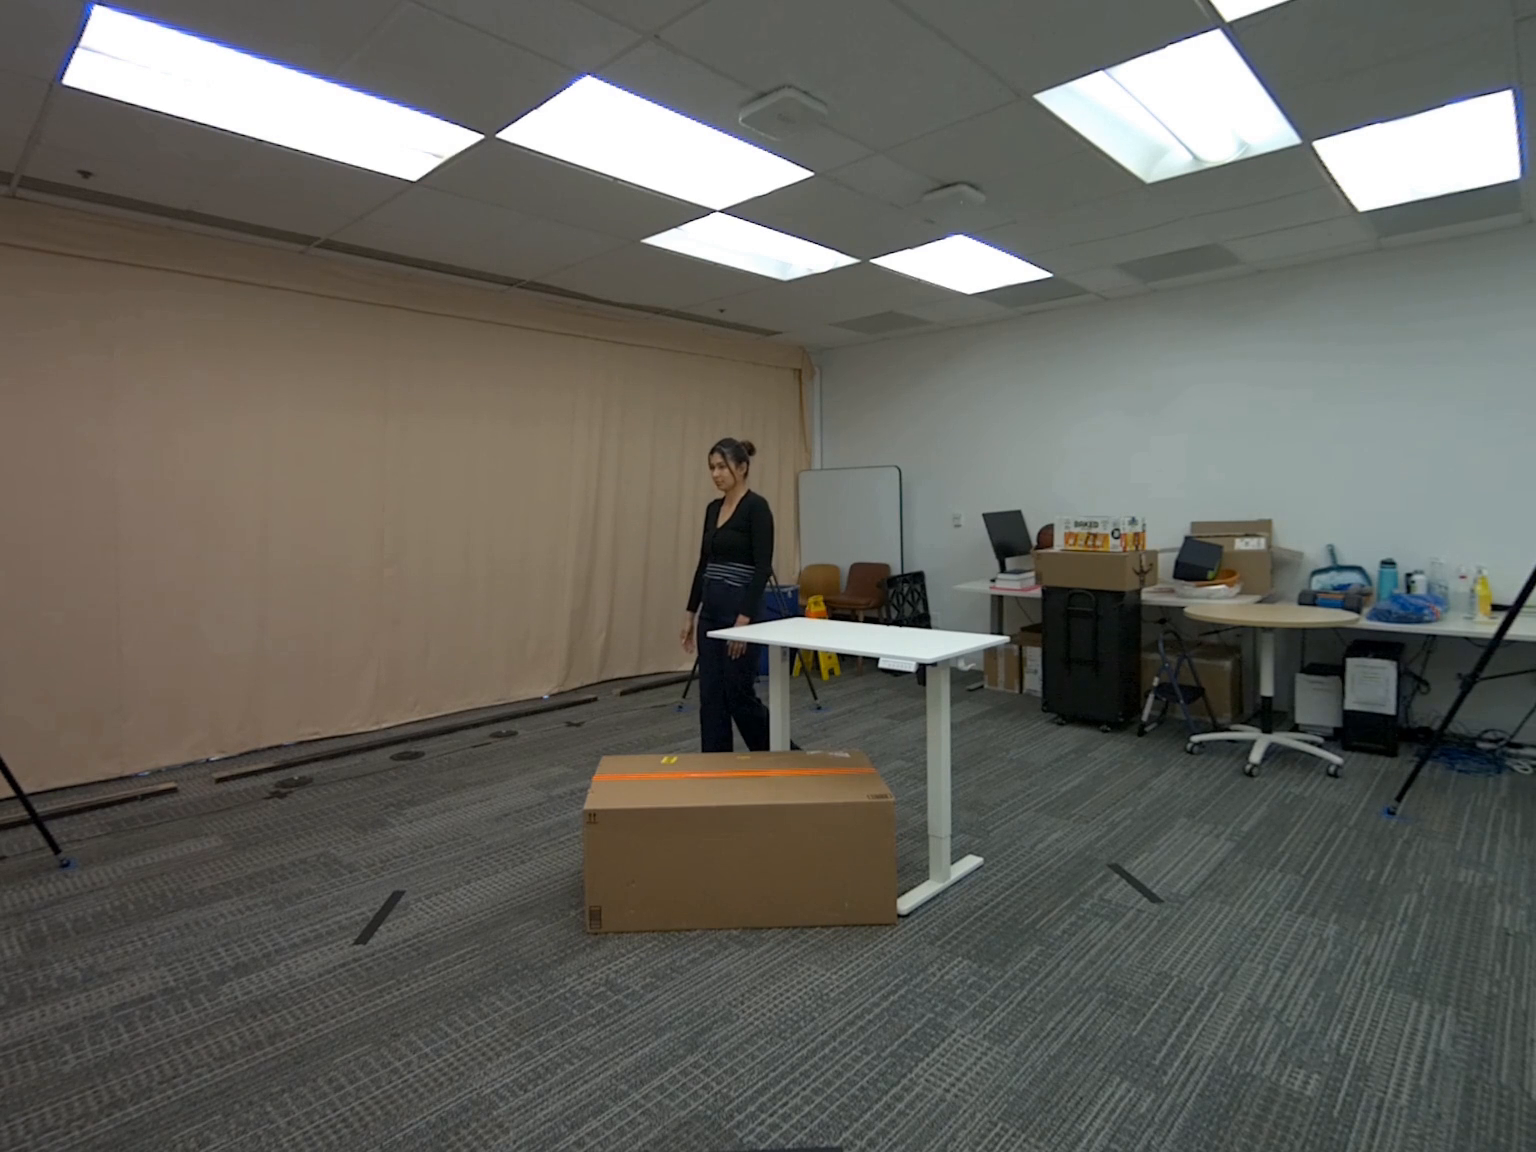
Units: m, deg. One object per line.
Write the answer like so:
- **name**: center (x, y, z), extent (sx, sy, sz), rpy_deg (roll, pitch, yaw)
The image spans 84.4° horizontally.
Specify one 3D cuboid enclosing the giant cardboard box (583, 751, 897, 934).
- **giant cardboard box**: center (-0.112, 0.923, 3.029), extent (1.024, 0.425, 0.580), rpy_deg (-1, 4, -2)
